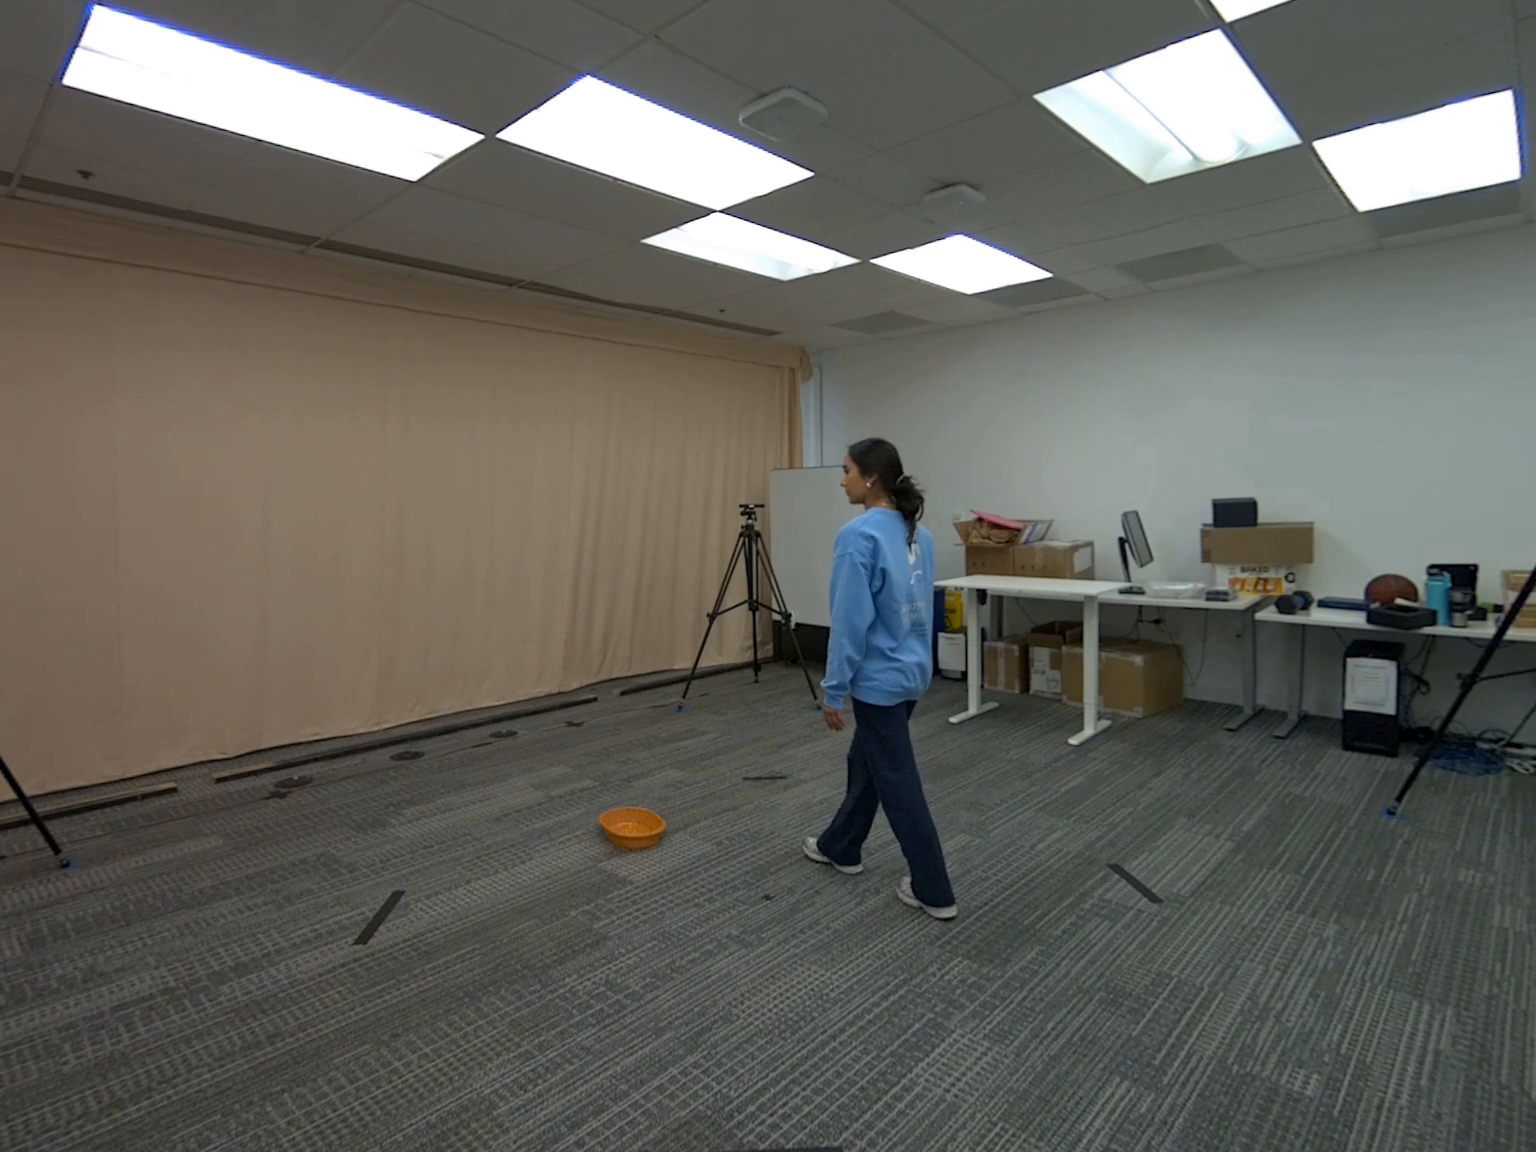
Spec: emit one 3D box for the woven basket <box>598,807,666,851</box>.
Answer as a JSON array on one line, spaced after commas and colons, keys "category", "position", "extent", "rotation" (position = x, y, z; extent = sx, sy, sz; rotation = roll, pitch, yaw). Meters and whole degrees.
[{"category": "woven basket", "position": [-0.572, 1.060, 3.553], "extent": [0.246, 0.073, 0.360], "rotation": [-2, 5, -26]}]
